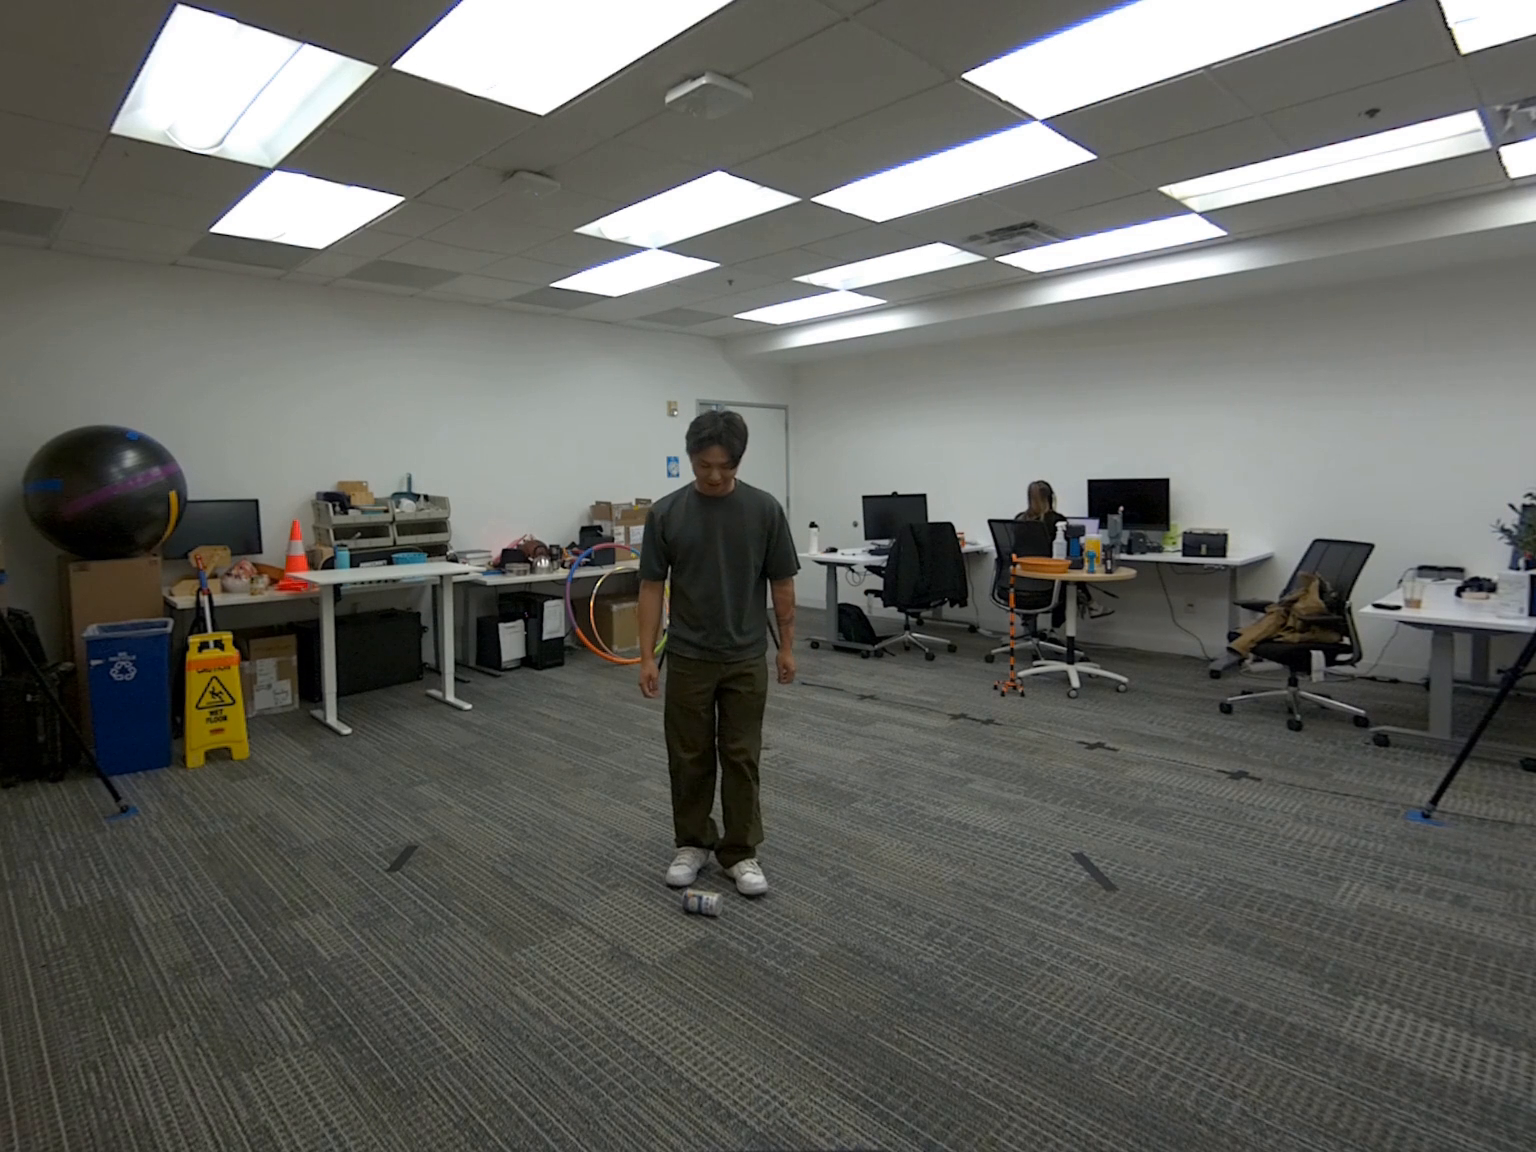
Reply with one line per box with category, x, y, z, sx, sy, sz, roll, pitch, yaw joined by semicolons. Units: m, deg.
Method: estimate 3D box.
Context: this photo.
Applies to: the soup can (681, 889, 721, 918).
soup can;-0.209;1.054;2.761;0.124;0.067;0.066;0;5;20
